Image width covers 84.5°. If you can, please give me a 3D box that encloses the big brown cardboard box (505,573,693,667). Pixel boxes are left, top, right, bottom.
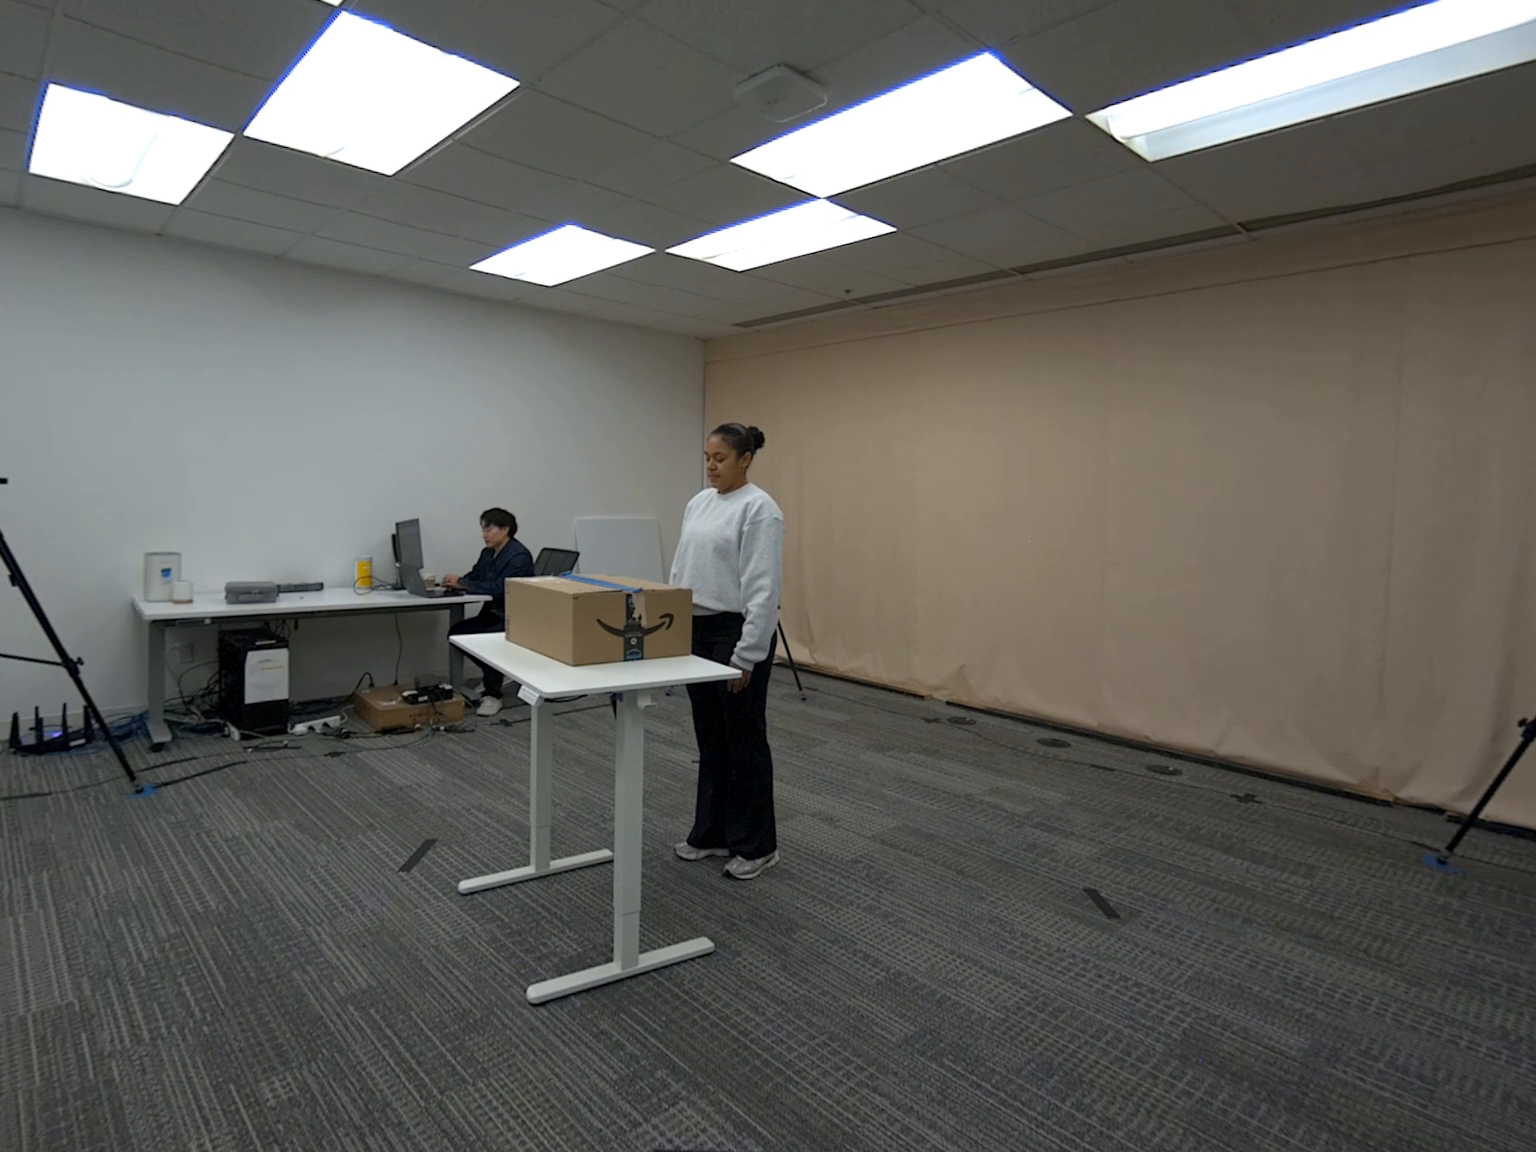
[{"bbox_3d":[-0.584,0.130,2.825,0.408,0.232,0.604,-2,6,-36],"label":"big brown cardboard box"}]
